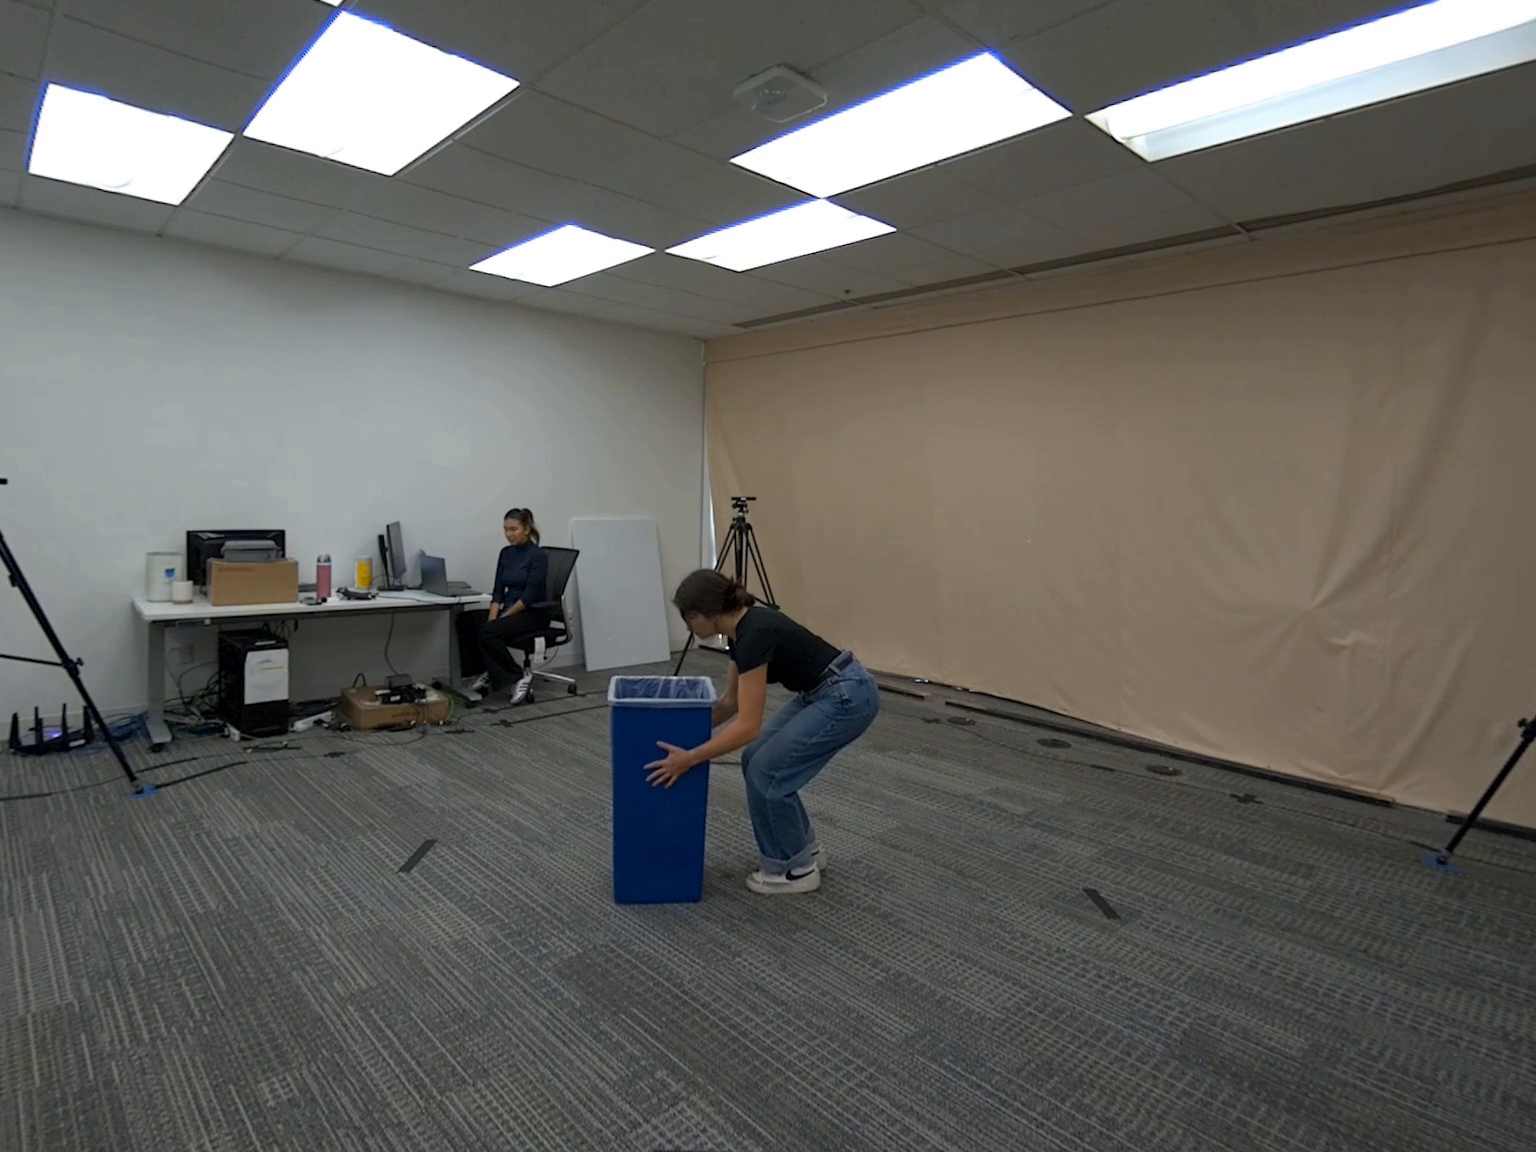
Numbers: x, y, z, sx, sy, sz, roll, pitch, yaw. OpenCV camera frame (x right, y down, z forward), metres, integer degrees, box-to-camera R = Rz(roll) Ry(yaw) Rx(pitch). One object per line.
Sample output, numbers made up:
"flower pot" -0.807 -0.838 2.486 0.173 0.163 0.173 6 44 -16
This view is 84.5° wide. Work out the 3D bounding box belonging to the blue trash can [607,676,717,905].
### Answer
"blue trash can" -0.386 0.743 3.006 0.376 0.712 0.377 1 3 -7
